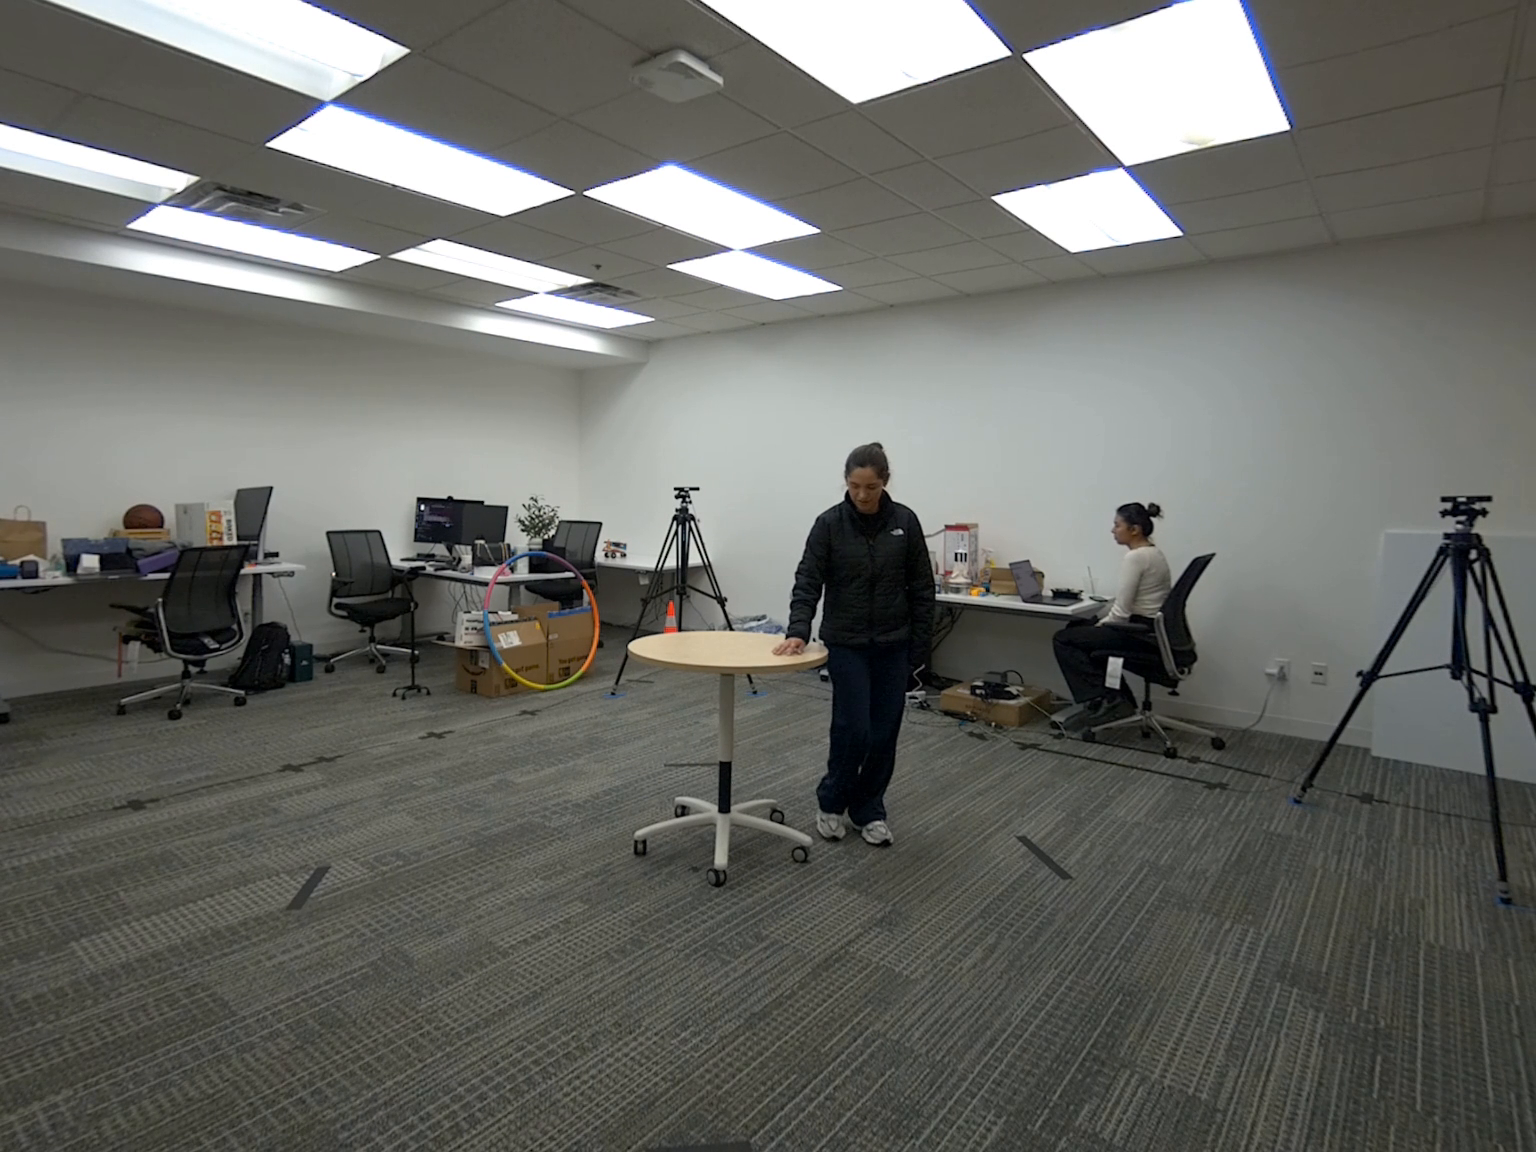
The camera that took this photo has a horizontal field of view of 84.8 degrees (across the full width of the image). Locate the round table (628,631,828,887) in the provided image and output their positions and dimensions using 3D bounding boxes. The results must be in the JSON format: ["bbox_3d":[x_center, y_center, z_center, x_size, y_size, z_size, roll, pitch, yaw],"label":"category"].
[{"bbox_3d":[-0.141,0.654,3.286,0.784,0.784,0.789,1,4,-2],"label":"round table"}]
